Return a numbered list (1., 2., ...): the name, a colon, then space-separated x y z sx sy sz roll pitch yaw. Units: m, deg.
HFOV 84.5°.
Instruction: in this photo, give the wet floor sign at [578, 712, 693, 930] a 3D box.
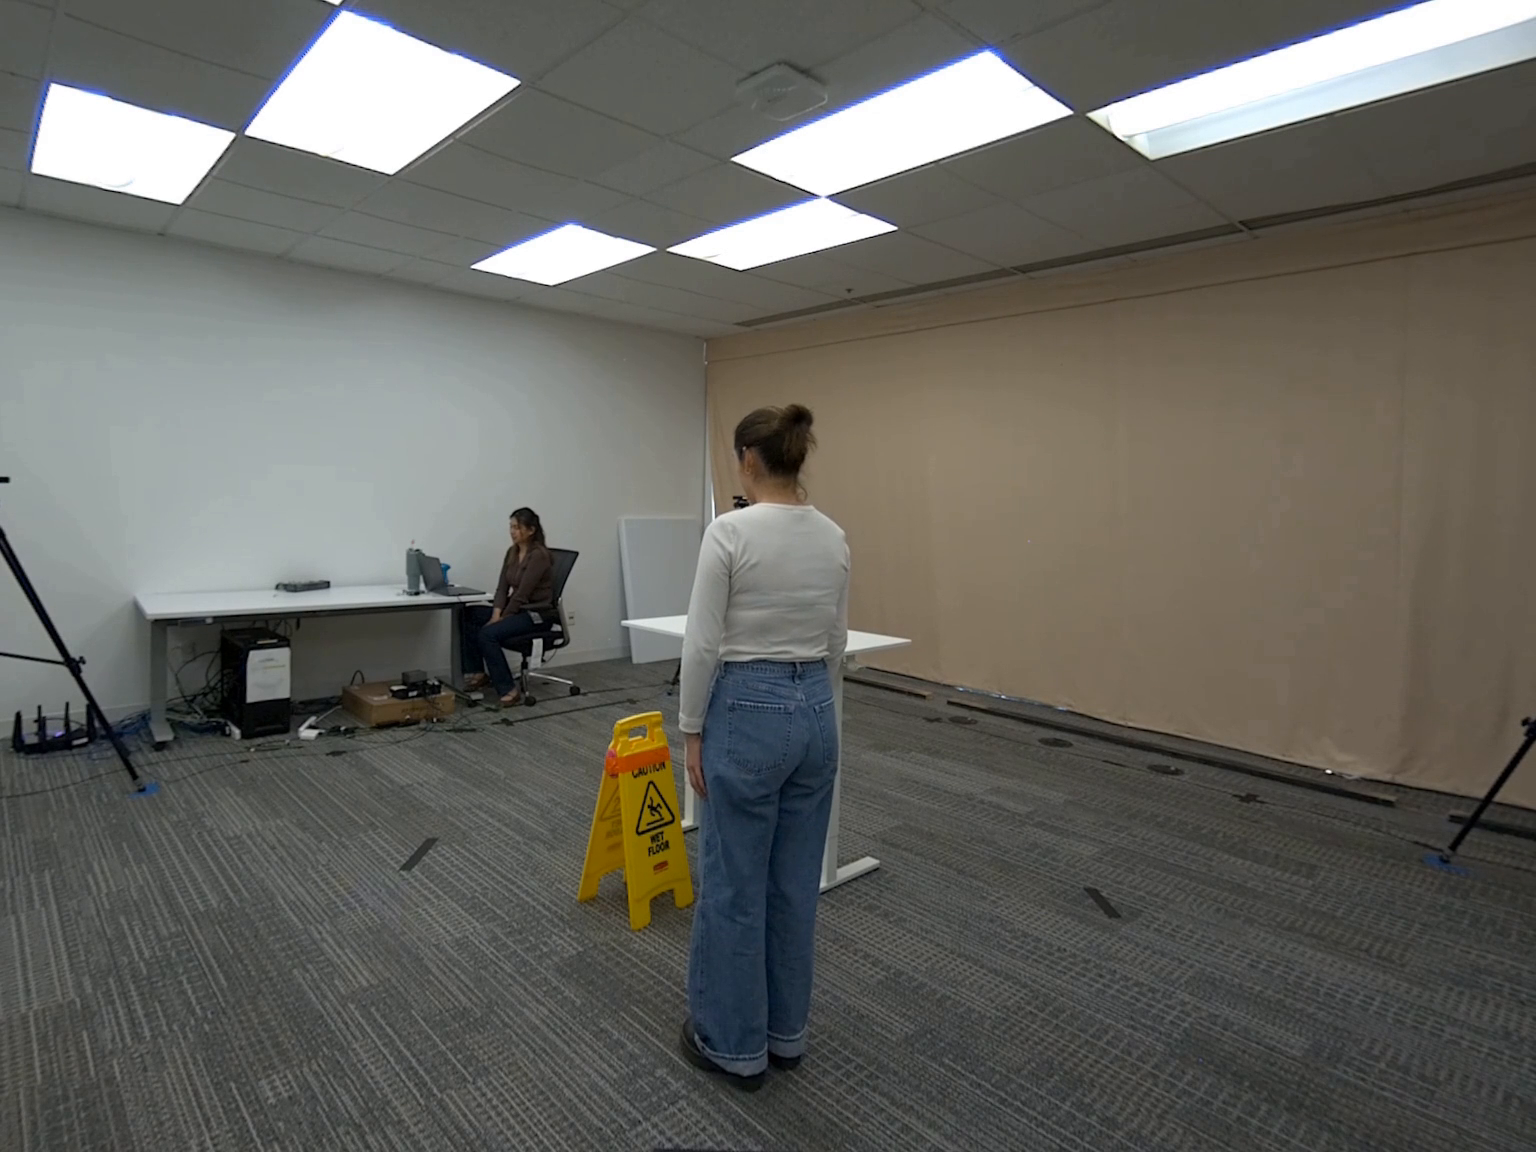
1. wet floor sign: -0.450 0.798 2.854 0.297 0.644 0.276 5 5 40
